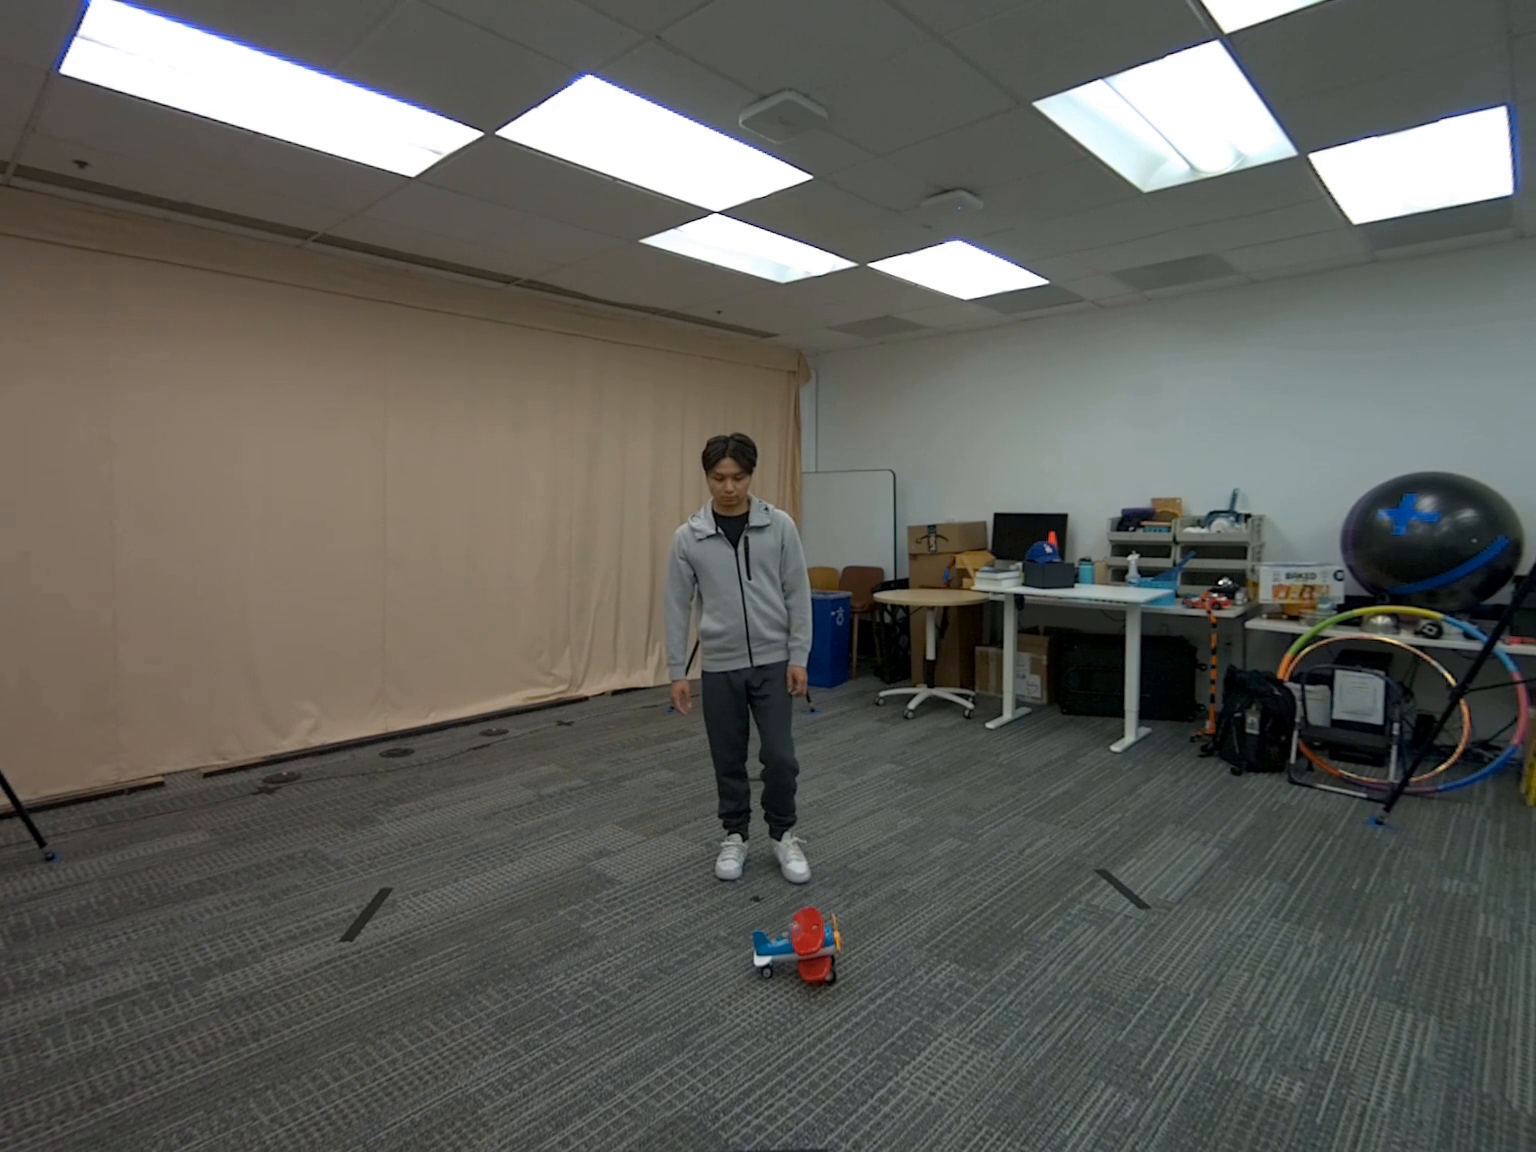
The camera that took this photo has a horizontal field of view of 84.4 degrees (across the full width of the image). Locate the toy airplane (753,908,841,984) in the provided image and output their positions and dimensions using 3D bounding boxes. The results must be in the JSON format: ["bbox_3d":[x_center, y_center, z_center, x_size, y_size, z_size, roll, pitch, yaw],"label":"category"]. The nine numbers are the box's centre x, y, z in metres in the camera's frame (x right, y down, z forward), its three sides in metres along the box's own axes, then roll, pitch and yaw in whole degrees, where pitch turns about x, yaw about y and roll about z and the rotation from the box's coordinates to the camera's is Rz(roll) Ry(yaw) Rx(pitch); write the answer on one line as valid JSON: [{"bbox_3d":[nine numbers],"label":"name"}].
[{"bbox_3d":[0.097,1.116,2.472,0.253,0.156,0.258,-1,4,-26],"label":"toy airplane"}]
